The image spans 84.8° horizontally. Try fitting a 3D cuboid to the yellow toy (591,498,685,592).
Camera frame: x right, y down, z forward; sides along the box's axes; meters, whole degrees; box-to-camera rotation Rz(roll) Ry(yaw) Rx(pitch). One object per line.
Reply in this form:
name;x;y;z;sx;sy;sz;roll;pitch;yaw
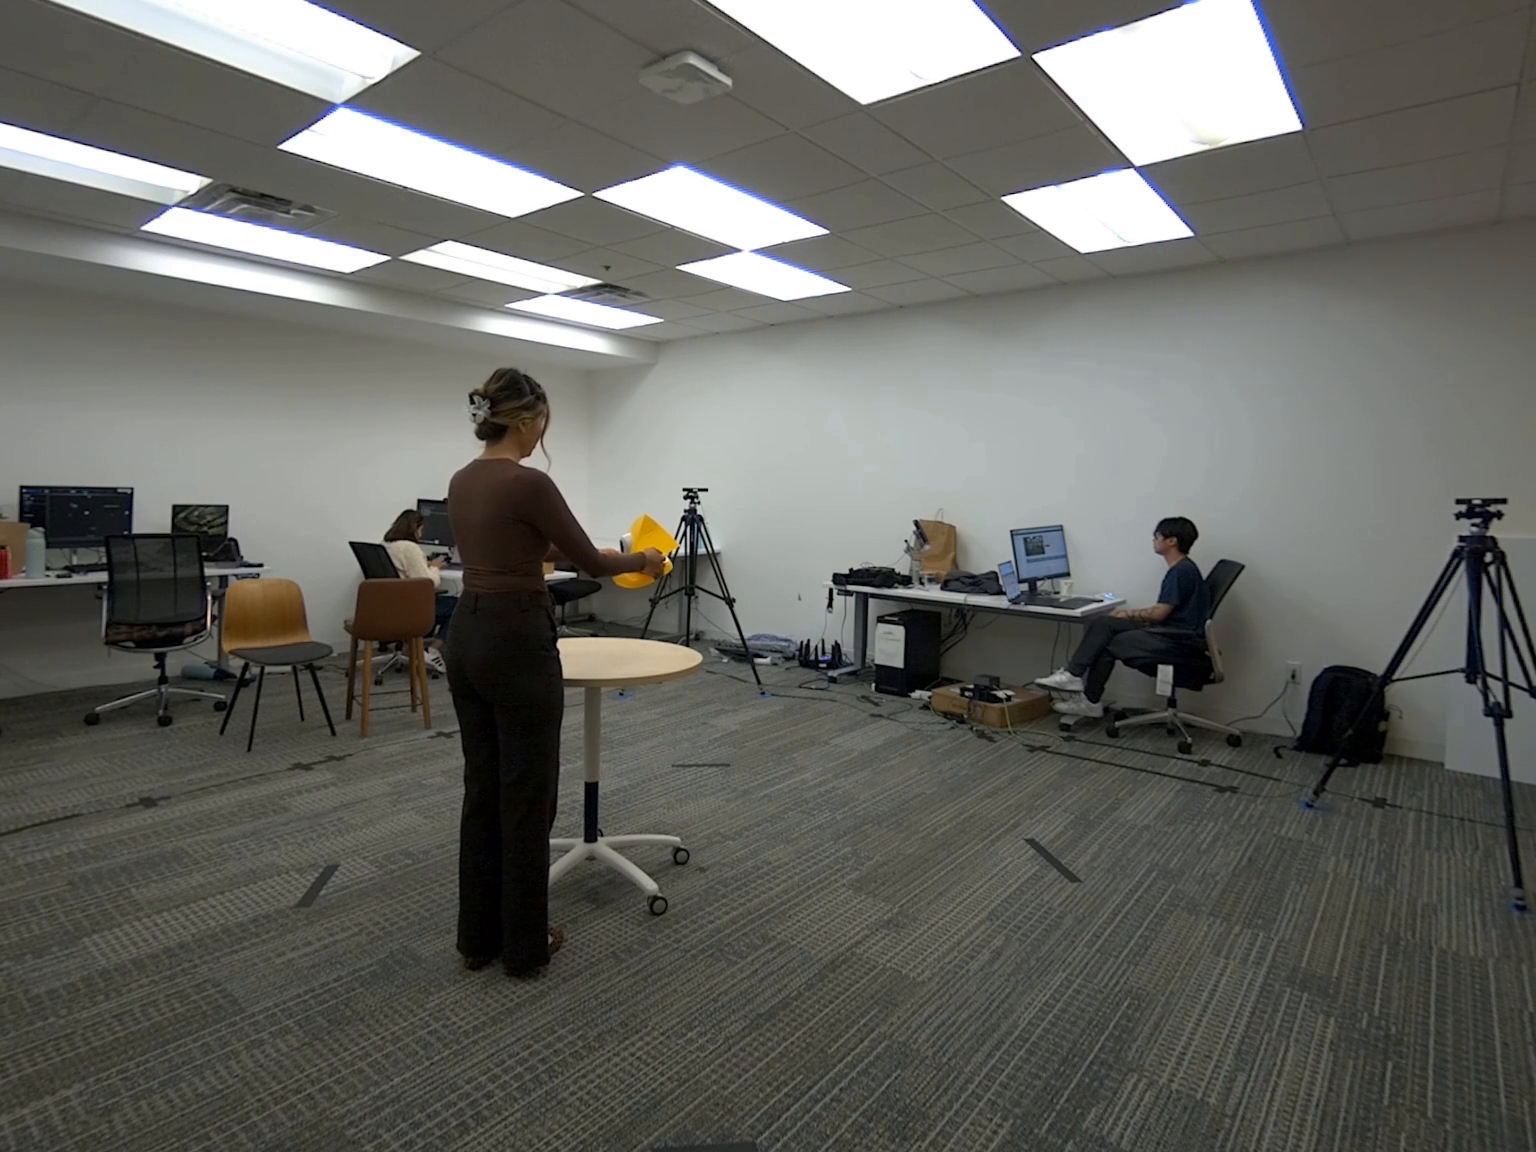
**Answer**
yellow toy;-0.439;-0.112;2.852;0.200;0.225;0.202;11;29;37
